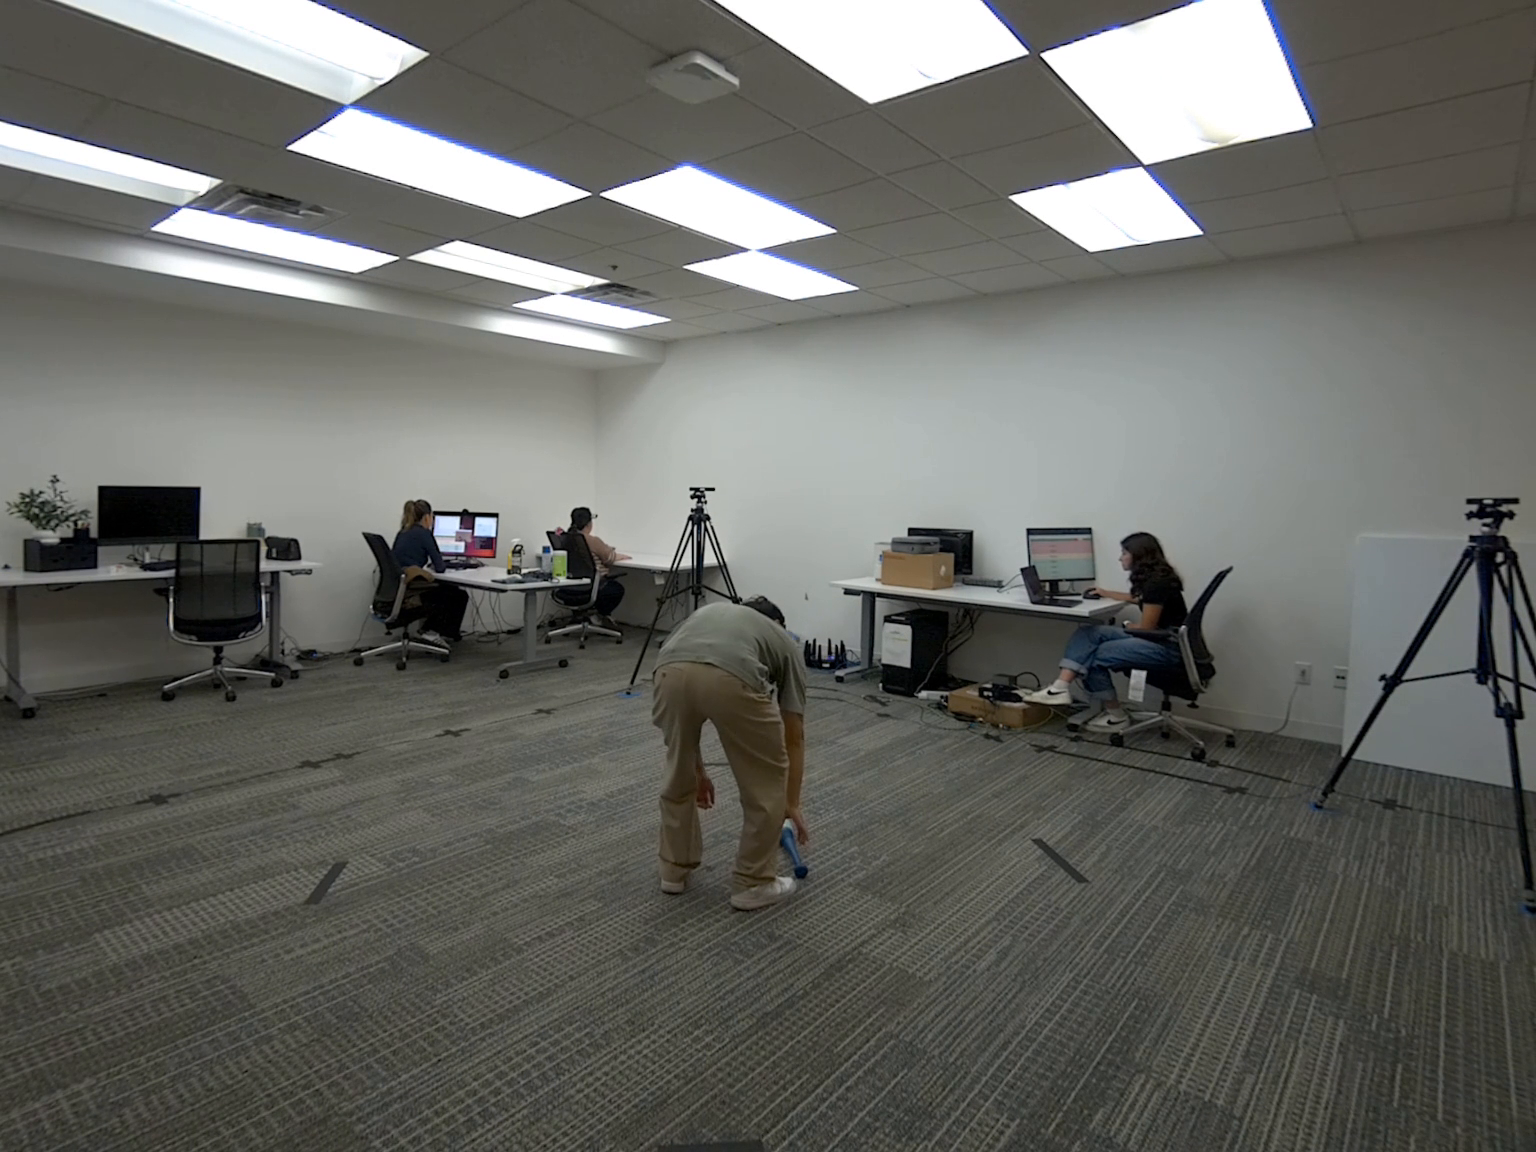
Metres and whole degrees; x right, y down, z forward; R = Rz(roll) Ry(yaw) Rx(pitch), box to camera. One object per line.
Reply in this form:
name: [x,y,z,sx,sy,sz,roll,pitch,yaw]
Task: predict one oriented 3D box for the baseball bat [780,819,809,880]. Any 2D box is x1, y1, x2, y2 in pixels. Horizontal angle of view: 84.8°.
baseball bat: [0.061,1.010,3.299,0.088,0.088,0.552,0,8,-11]
